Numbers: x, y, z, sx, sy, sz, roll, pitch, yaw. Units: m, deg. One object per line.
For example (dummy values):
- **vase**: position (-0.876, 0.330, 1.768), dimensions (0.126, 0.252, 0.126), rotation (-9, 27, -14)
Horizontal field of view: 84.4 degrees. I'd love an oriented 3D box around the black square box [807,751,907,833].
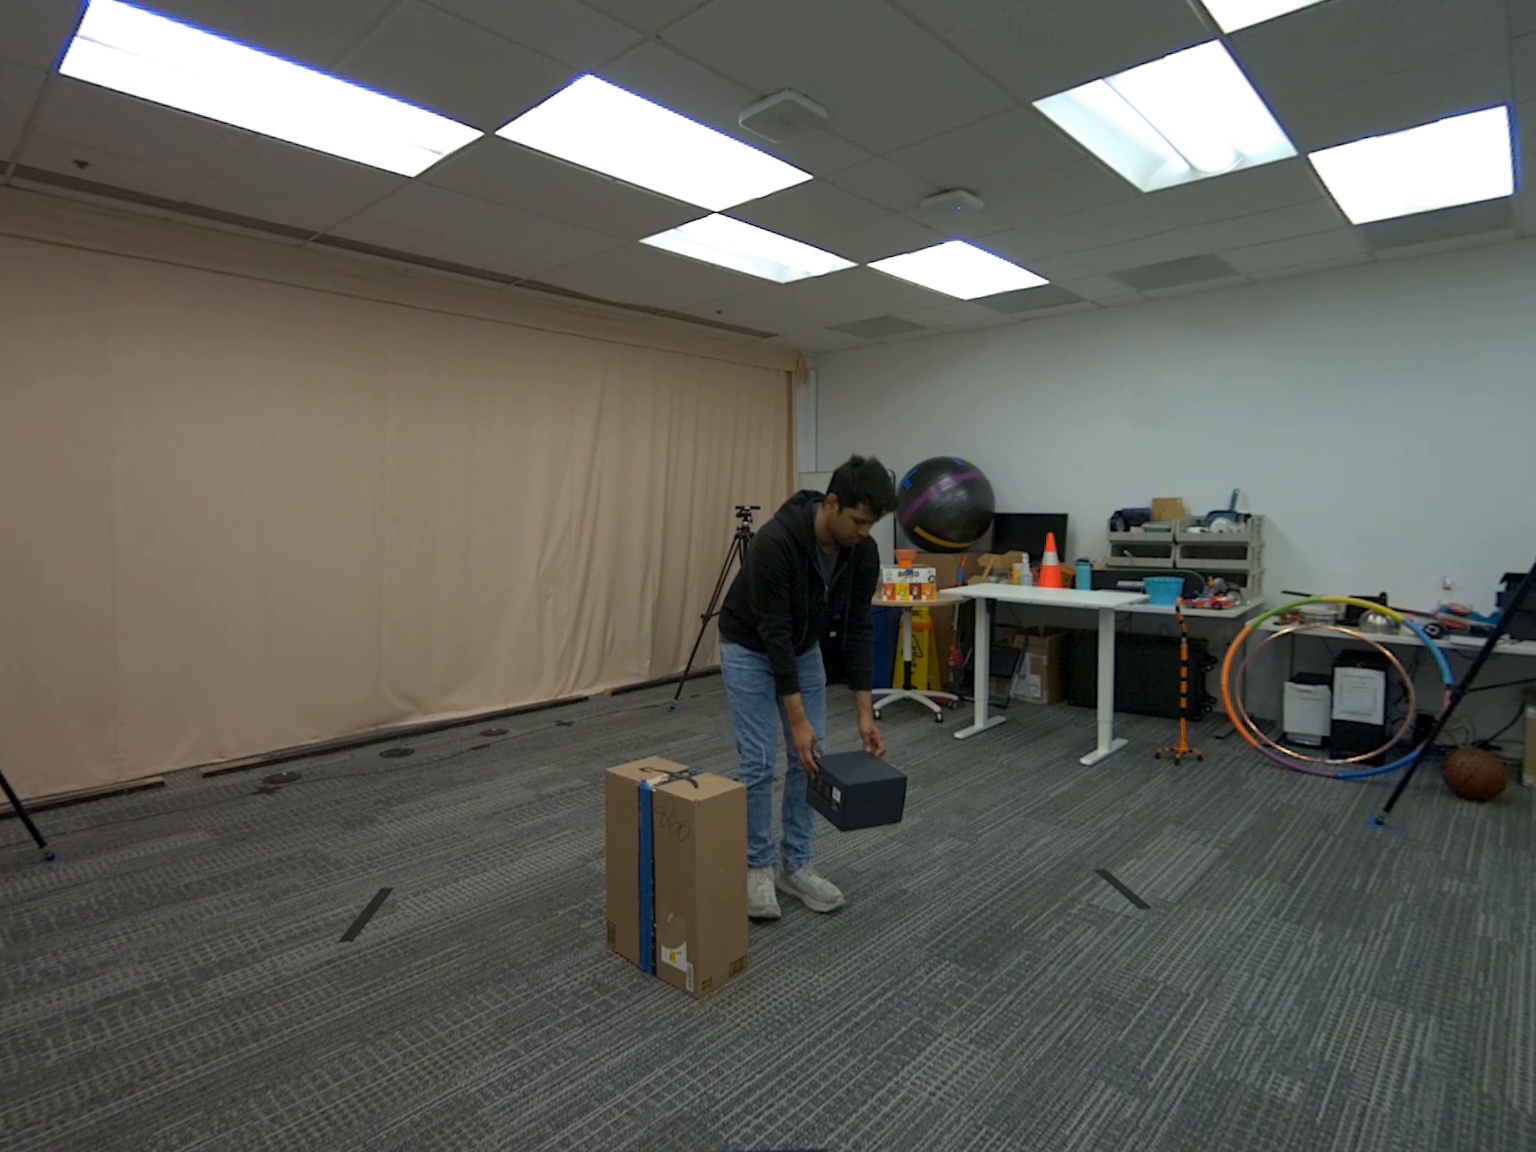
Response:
- **black square box**: position (0.282, 0.679, 2.657), dimensions (0.222, 0.155, 0.224), rotation (-1, 11, -28)
